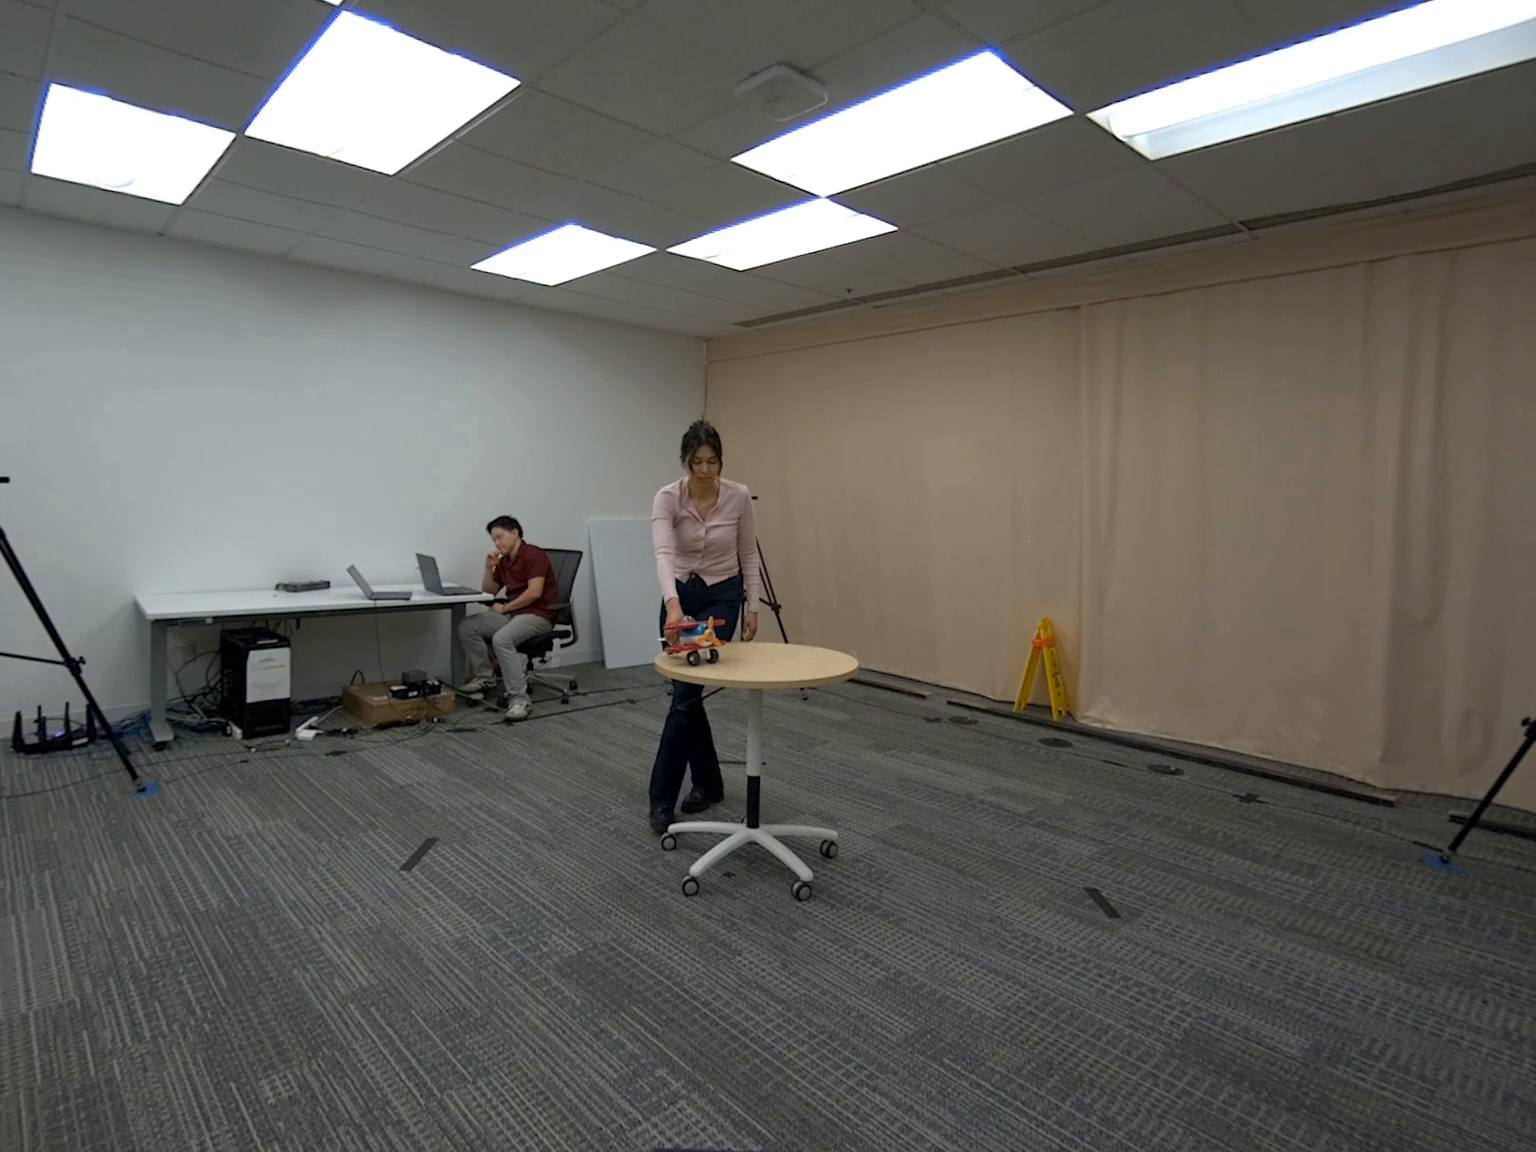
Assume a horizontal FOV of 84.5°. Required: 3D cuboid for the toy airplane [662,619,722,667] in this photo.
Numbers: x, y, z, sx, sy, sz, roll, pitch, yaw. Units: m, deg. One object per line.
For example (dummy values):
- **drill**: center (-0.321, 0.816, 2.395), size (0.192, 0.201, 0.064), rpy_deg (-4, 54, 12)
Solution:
- **toy airplane**: center (-0.304, 0.234, 3.109), size (0.263, 0.156, 0.248), rpy_deg (7, 8, 18)
